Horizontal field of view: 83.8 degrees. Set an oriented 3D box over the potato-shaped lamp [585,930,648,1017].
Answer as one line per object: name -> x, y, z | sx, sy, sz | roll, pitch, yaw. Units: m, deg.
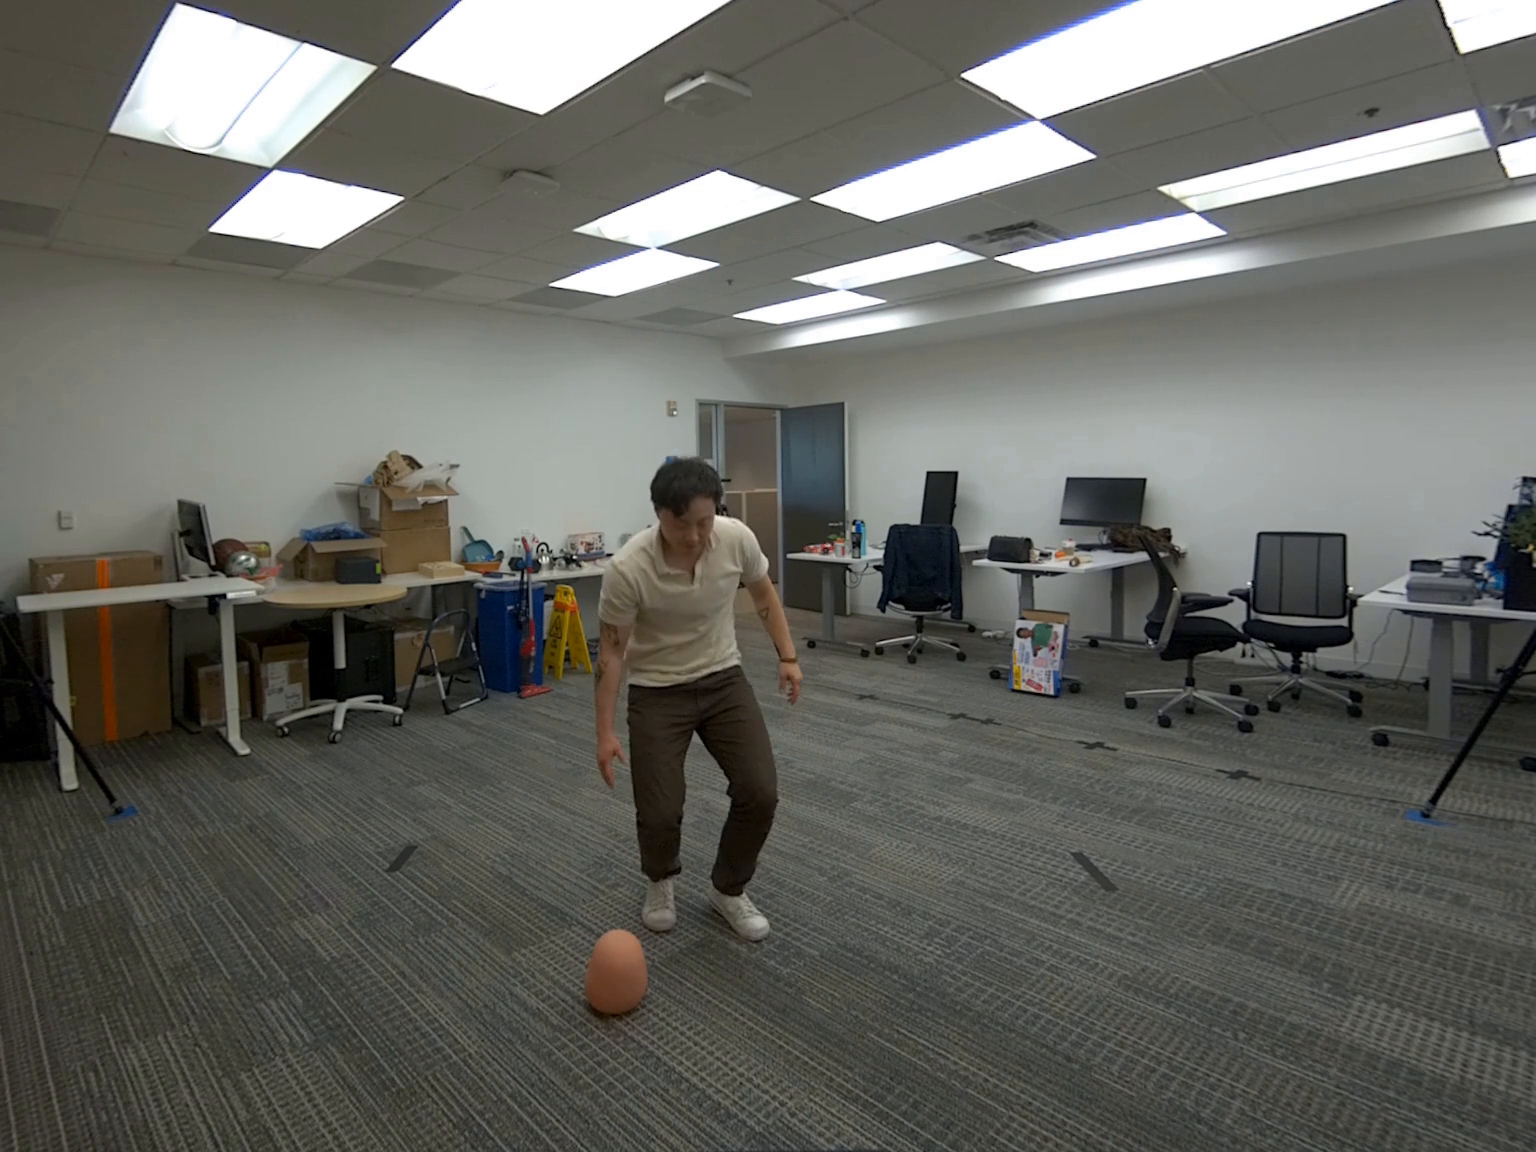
potato-shaped lamp -> -0.401, 1.051, 2.283 | 0.160, 0.197, 0.176 | -1, 5, -34
